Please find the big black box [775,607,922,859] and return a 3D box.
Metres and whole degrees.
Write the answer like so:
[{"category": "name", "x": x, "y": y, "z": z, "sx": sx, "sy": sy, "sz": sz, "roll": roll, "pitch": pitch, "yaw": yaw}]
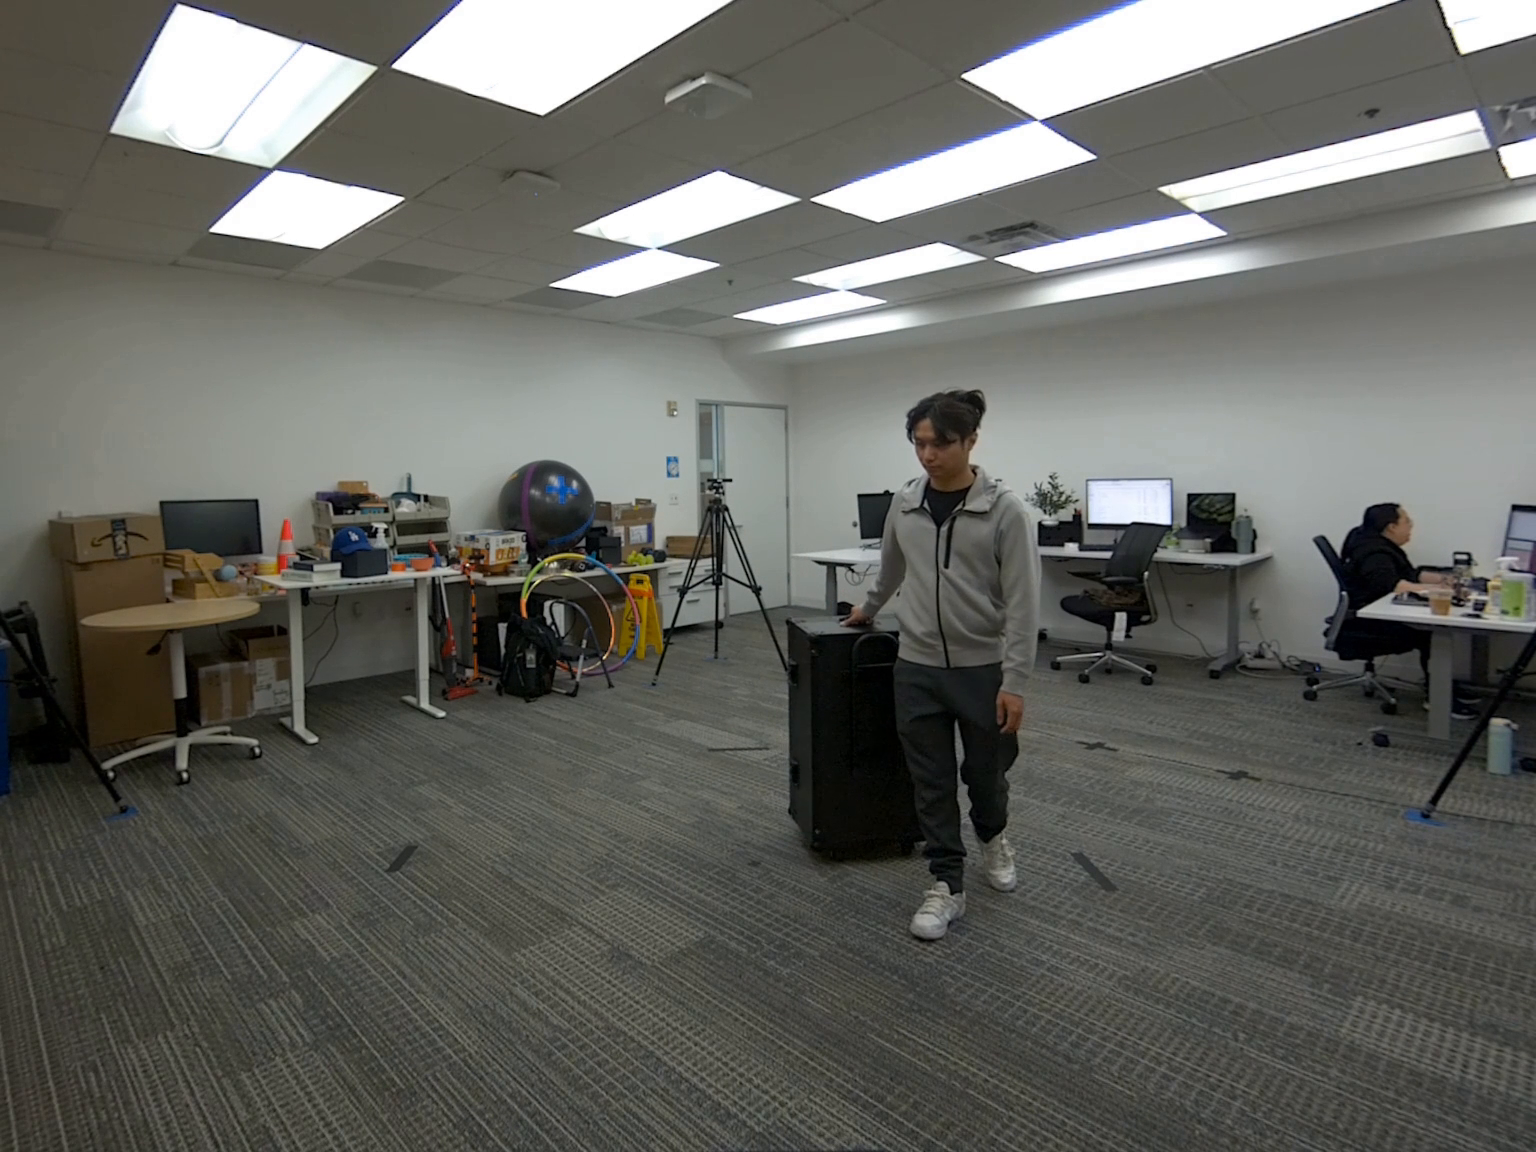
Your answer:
[{"category": "big black box", "x": 0.358, "y": 0.604, "z": 3.220, "sx": 0.516, "sy": 0.857, "sz": 0.402, "roll": -1, "pitch": 6, "yaw": -10}]
